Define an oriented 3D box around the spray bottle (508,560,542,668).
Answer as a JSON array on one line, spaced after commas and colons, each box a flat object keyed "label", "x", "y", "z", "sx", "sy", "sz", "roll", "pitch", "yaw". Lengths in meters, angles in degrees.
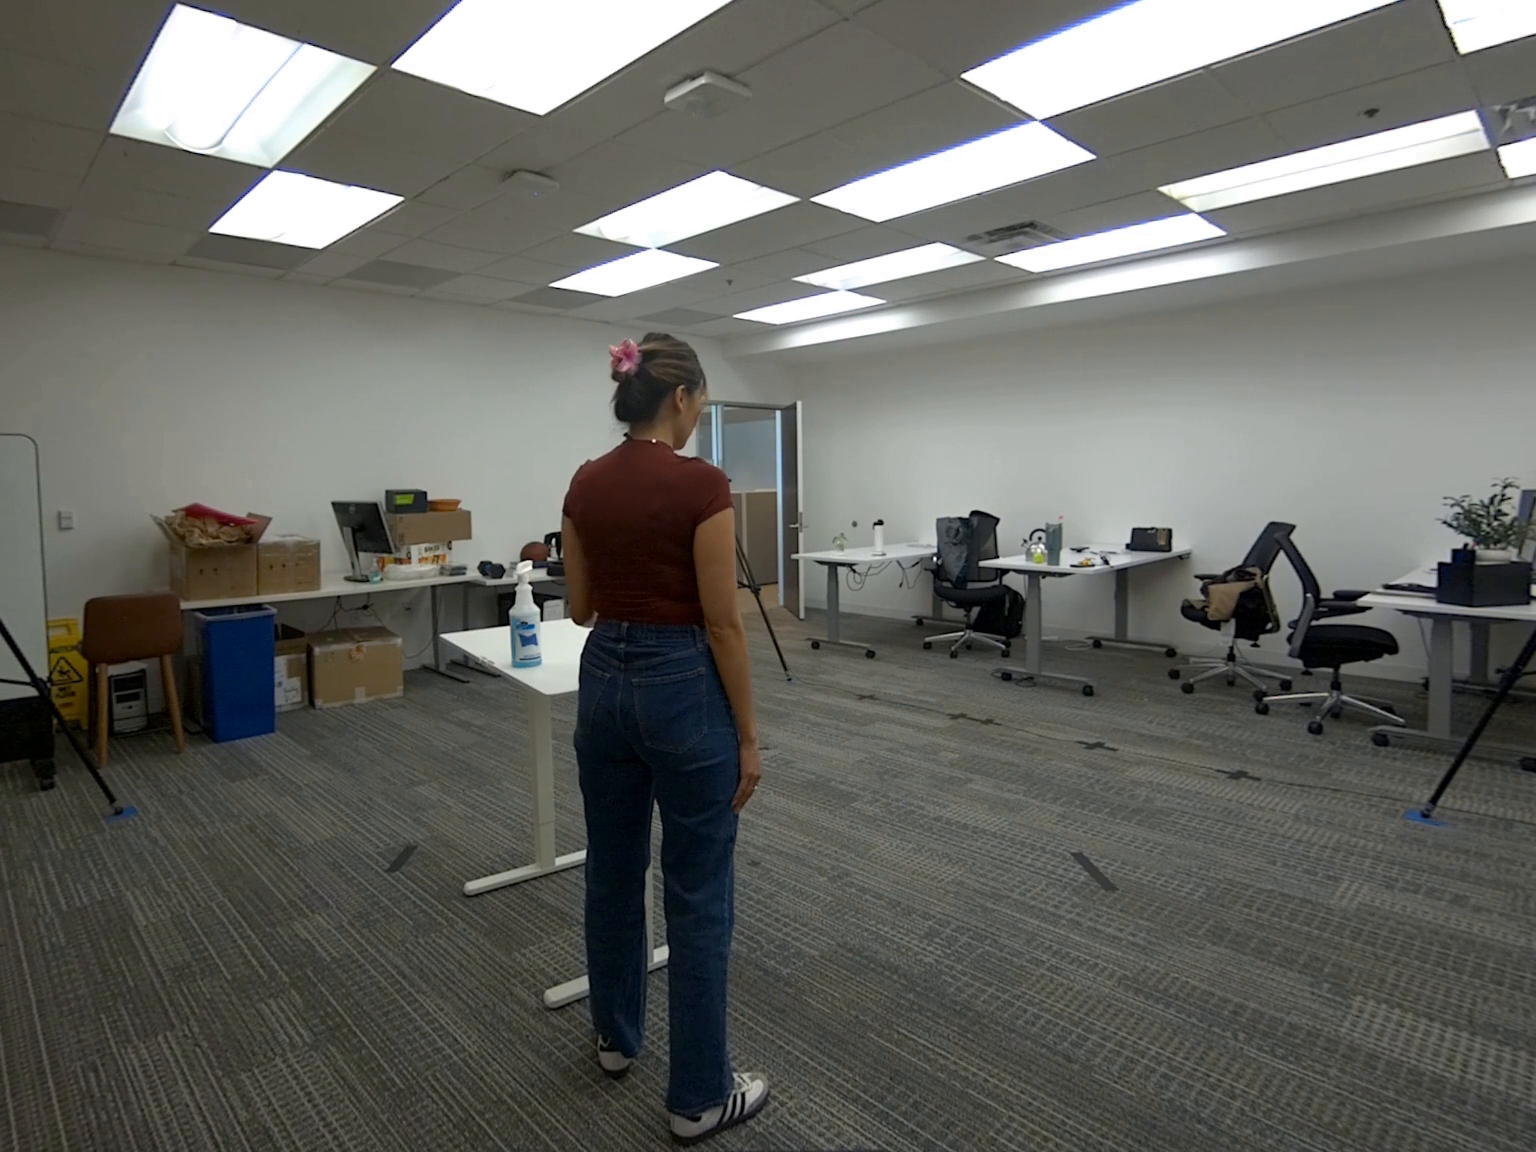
[{"label": "spray bottle", "x": -0.698, "y": 0.112, "z": 2.446, "sx": 0.089, "sy": 0.296, "sz": 0.088, "roll": 3, "pitch": 4, "yaw": 35}]
